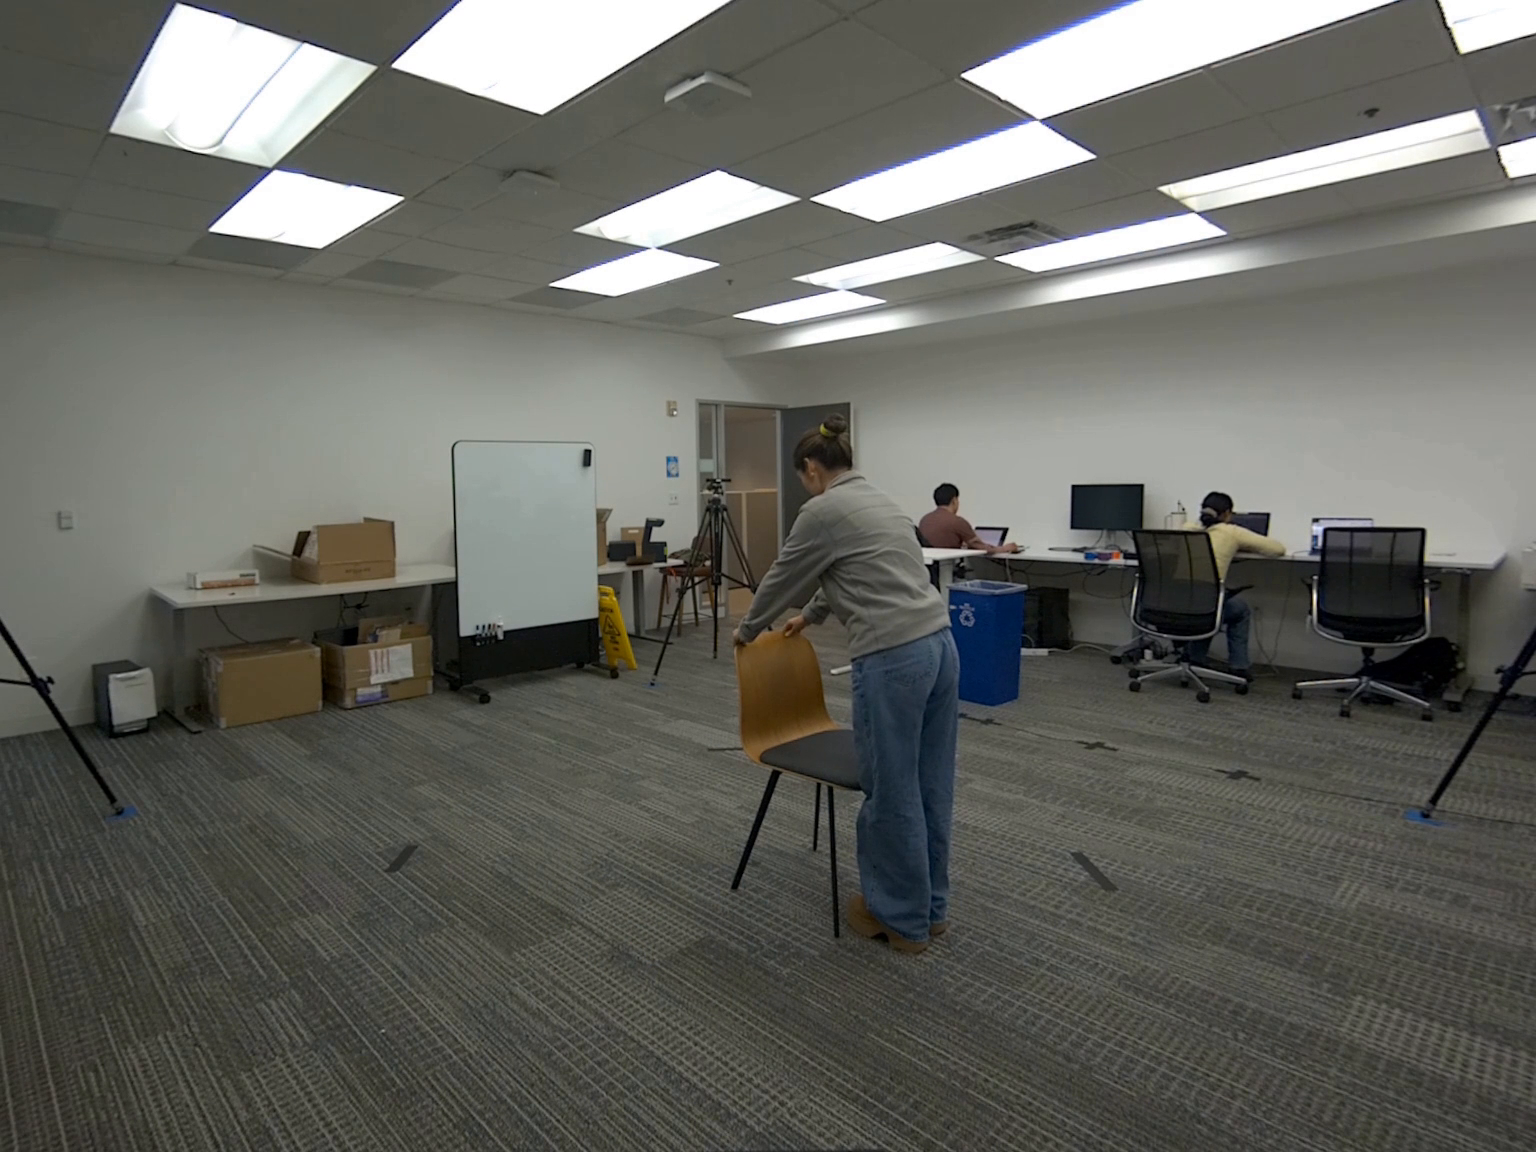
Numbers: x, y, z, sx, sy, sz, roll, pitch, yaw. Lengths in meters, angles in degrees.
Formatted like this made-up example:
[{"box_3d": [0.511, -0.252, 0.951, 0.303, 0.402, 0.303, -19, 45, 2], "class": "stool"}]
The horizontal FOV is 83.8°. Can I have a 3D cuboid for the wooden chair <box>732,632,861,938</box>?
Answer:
[{"box_3d": [0.190, 0.640, 2.873, 0.538, 0.876, 0.465, -2, 2, 44], "class": "wooden chair"}]
